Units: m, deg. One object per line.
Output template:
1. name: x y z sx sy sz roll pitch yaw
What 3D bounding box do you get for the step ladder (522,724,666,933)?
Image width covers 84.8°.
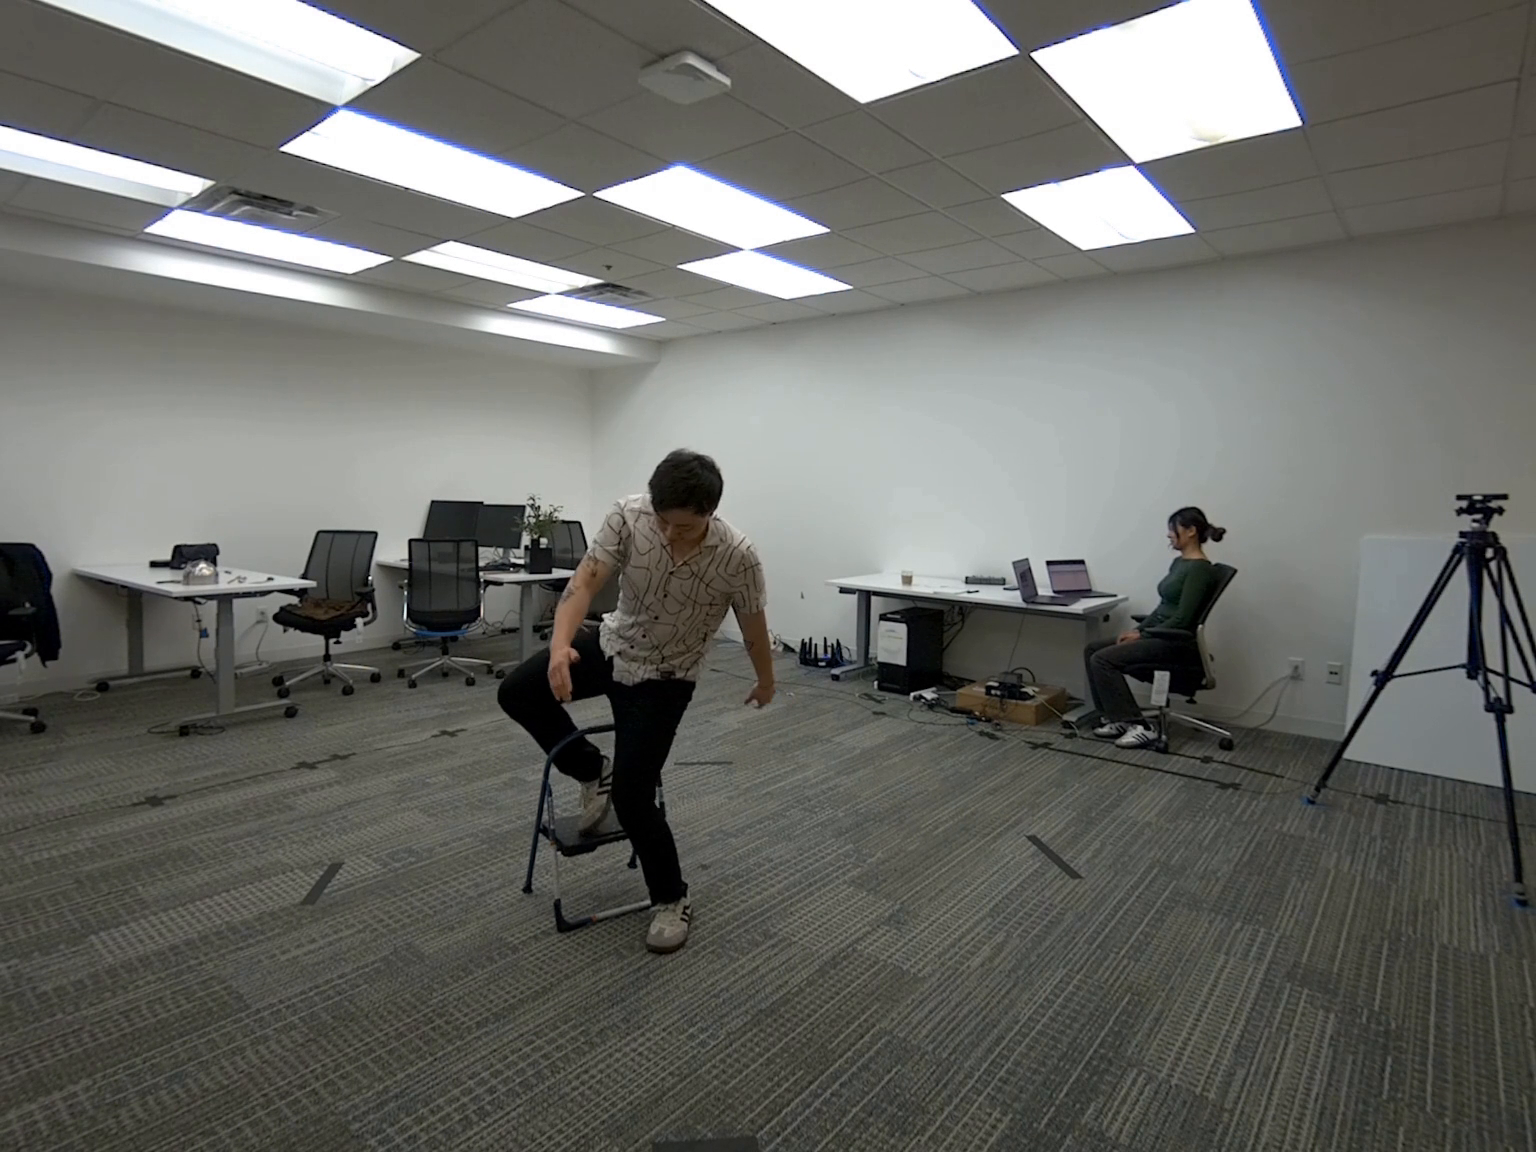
1. step ladder: -0.582 0.780 2.870 0.418 0.604 0.360 -1 4 -34
